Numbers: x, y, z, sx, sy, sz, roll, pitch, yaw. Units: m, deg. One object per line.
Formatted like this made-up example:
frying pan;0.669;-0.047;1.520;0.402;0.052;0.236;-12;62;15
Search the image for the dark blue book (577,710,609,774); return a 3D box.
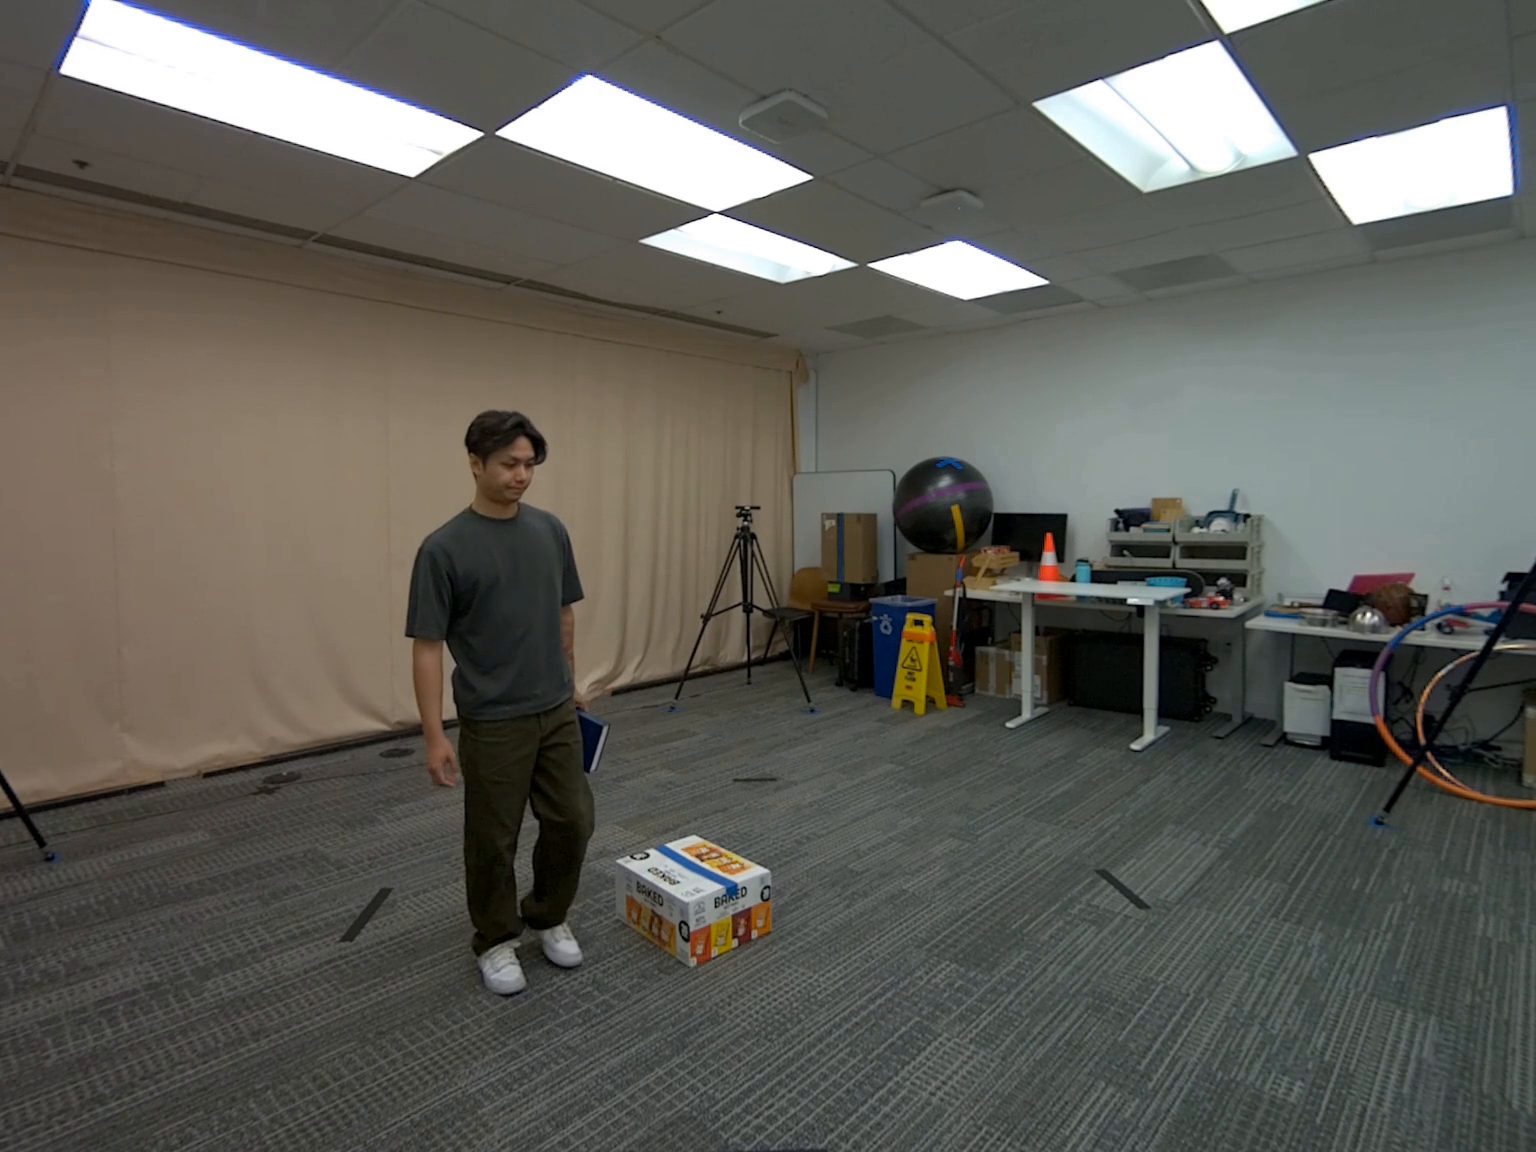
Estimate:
dark blue book;-0.637;0.511;2.701;0.251;0.163;0.044;20;6;22
